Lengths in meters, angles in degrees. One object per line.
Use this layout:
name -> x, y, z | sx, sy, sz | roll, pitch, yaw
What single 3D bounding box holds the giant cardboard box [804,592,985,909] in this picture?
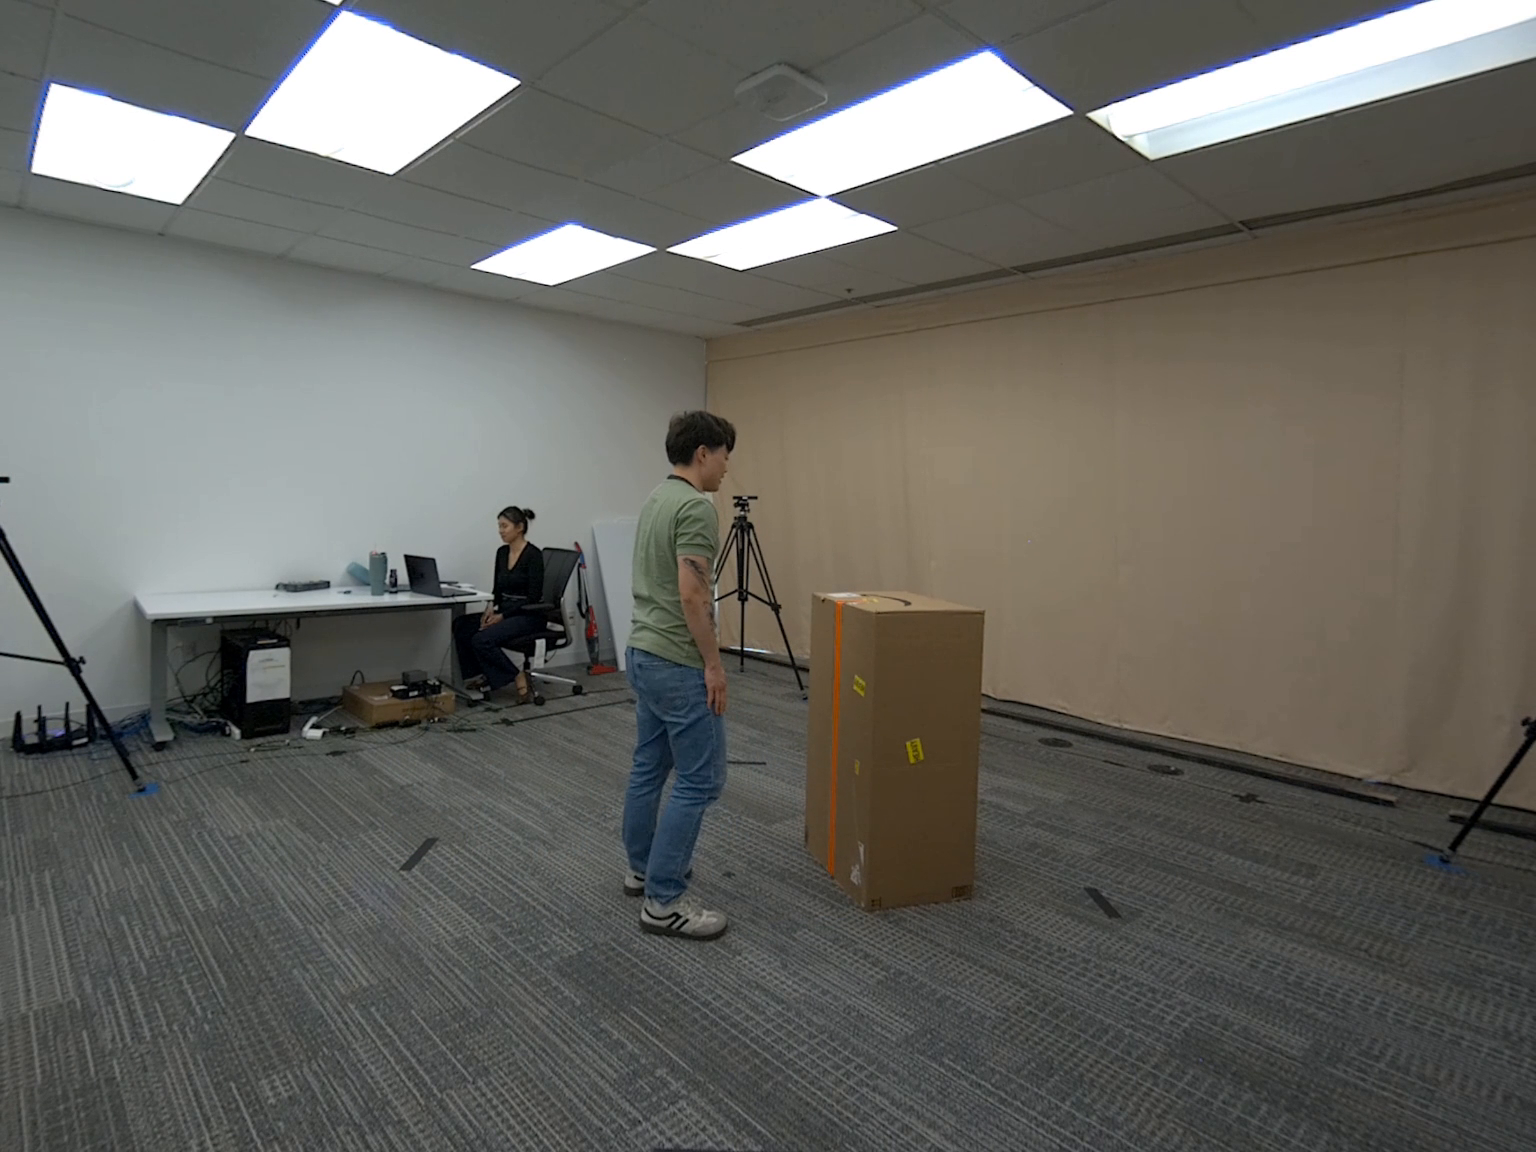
giant cardboard box -> 0.441, 0.601, 3.152 | 0.420, 1.023, 0.587 | 0, 4, -19
